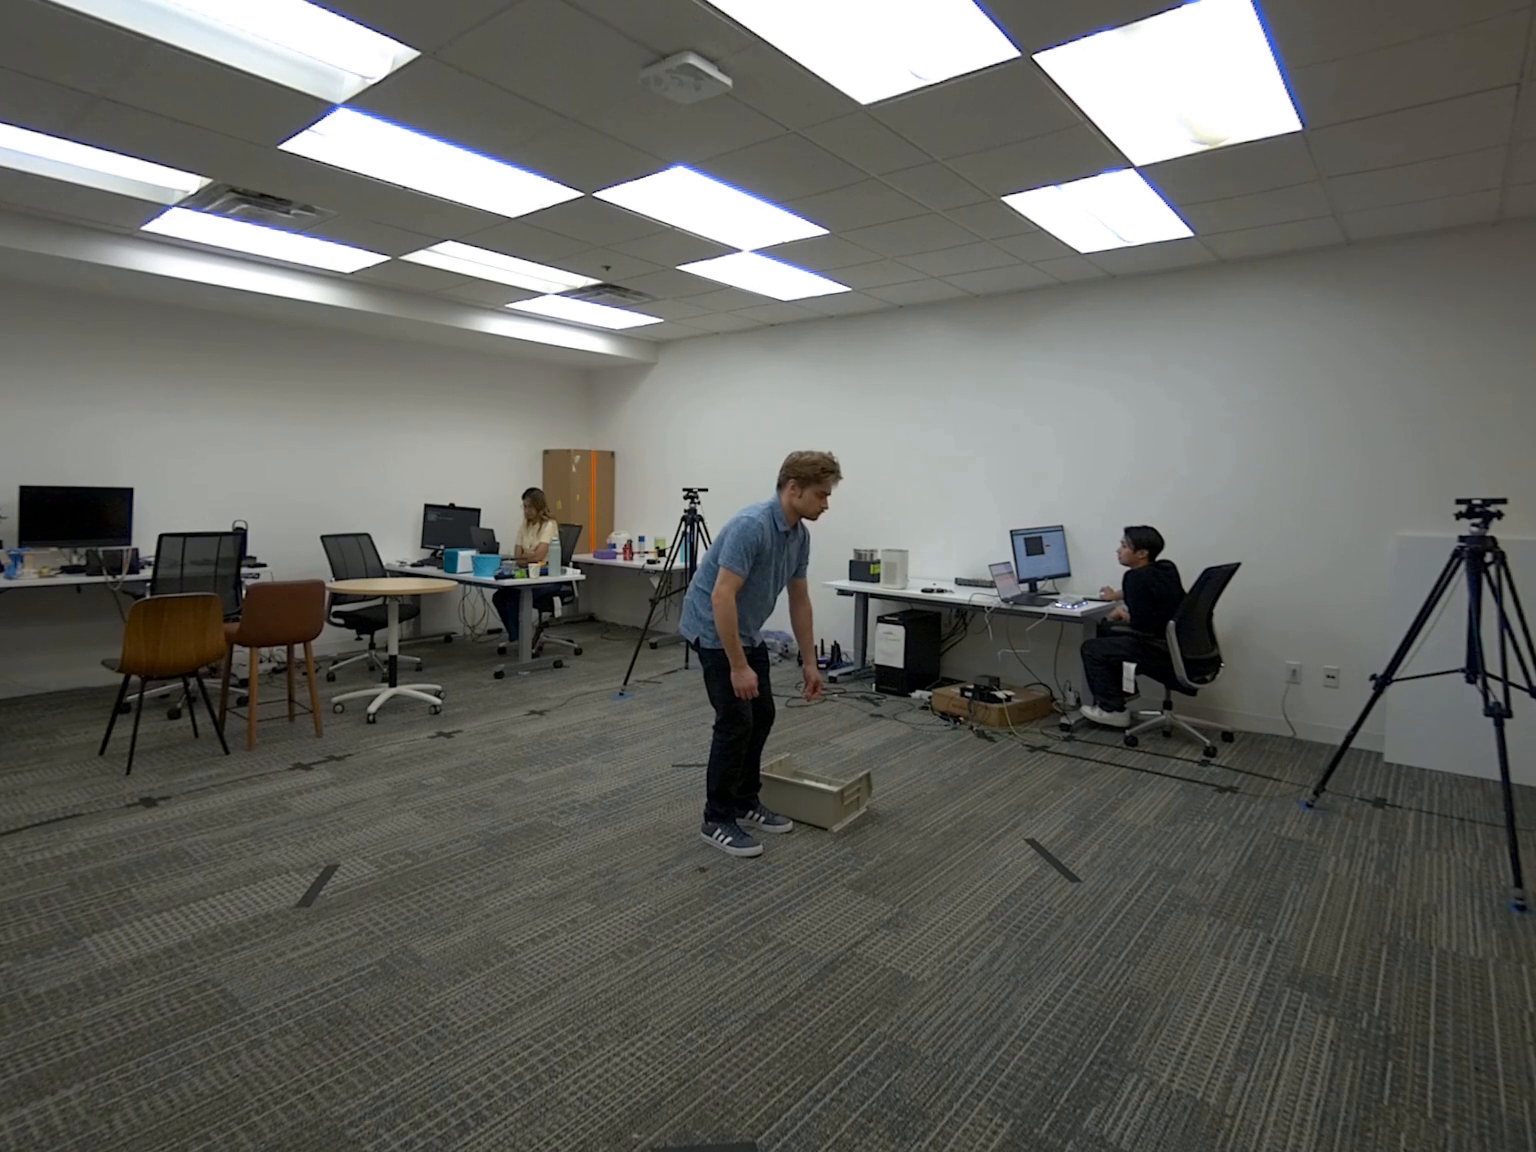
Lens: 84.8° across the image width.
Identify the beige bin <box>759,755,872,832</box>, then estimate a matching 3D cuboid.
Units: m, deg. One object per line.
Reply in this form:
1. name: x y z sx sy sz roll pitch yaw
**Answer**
1. beige bin: 0.184 0.927 3.725 0.435 0.188 0.367 4 7 33
